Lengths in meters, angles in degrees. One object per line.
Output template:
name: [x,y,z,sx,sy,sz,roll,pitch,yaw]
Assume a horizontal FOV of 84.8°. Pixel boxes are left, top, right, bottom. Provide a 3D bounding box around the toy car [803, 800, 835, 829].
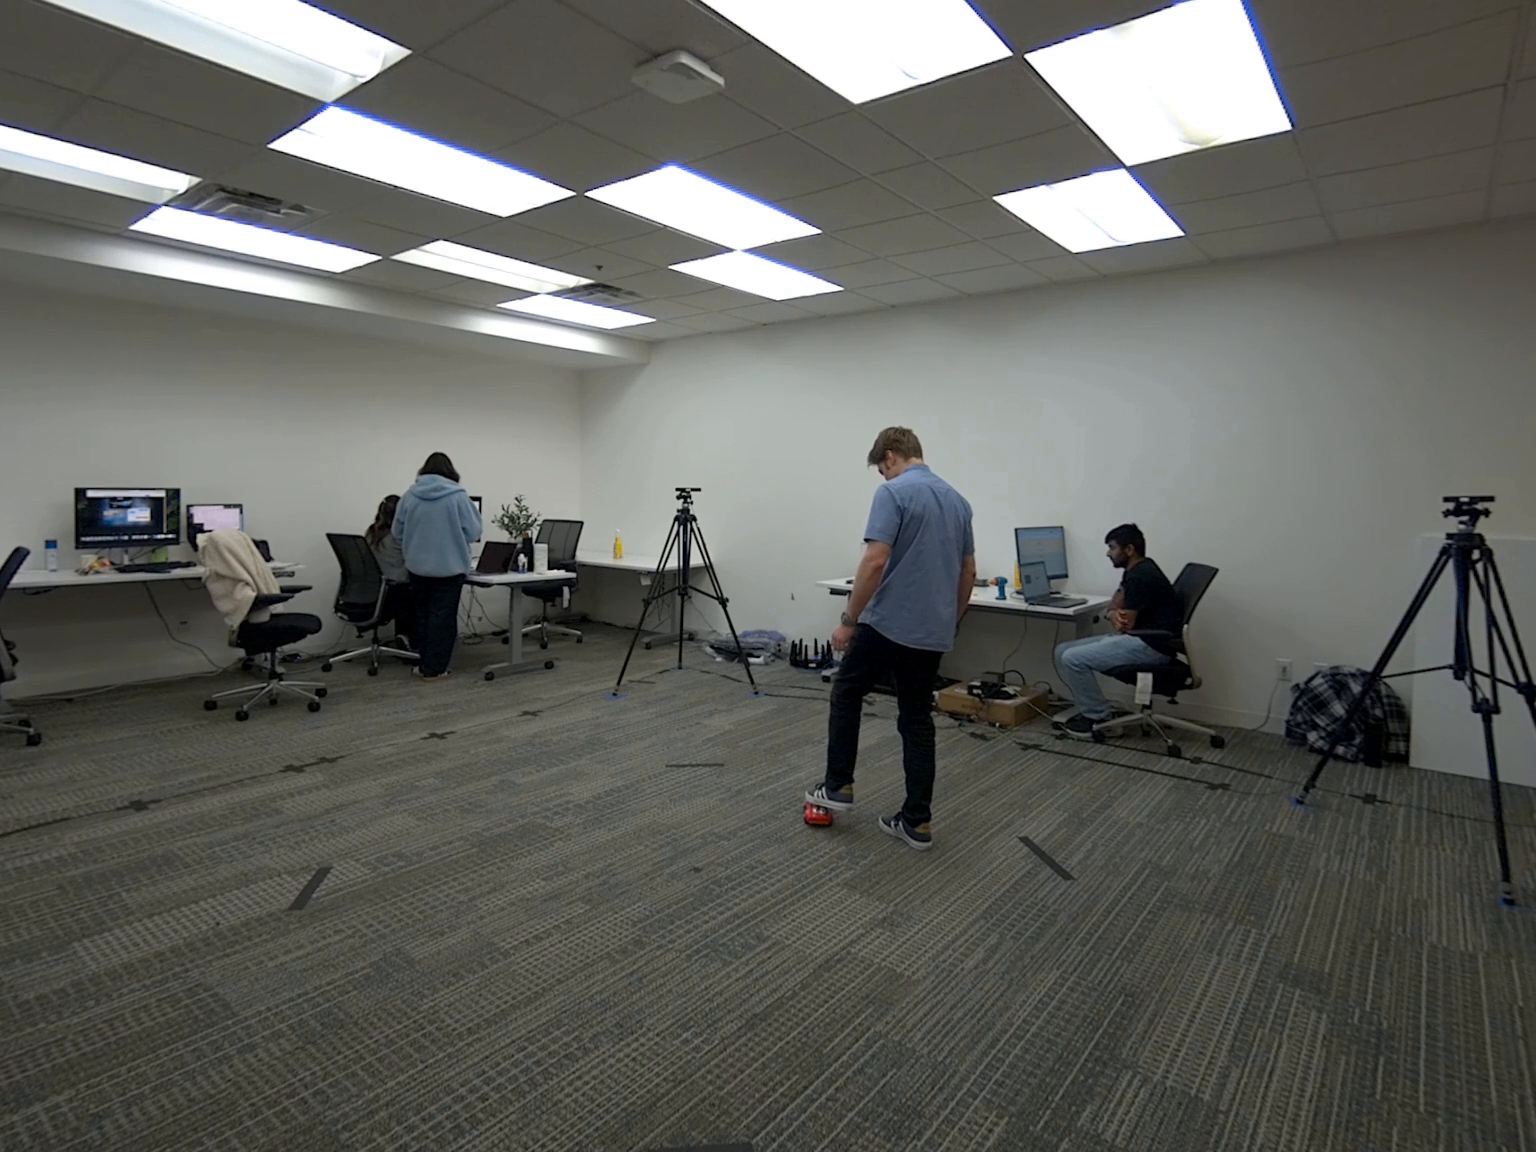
toy car: [0.208,0.999,3.612,0.131,0.084,0.252,2,-5,3]
